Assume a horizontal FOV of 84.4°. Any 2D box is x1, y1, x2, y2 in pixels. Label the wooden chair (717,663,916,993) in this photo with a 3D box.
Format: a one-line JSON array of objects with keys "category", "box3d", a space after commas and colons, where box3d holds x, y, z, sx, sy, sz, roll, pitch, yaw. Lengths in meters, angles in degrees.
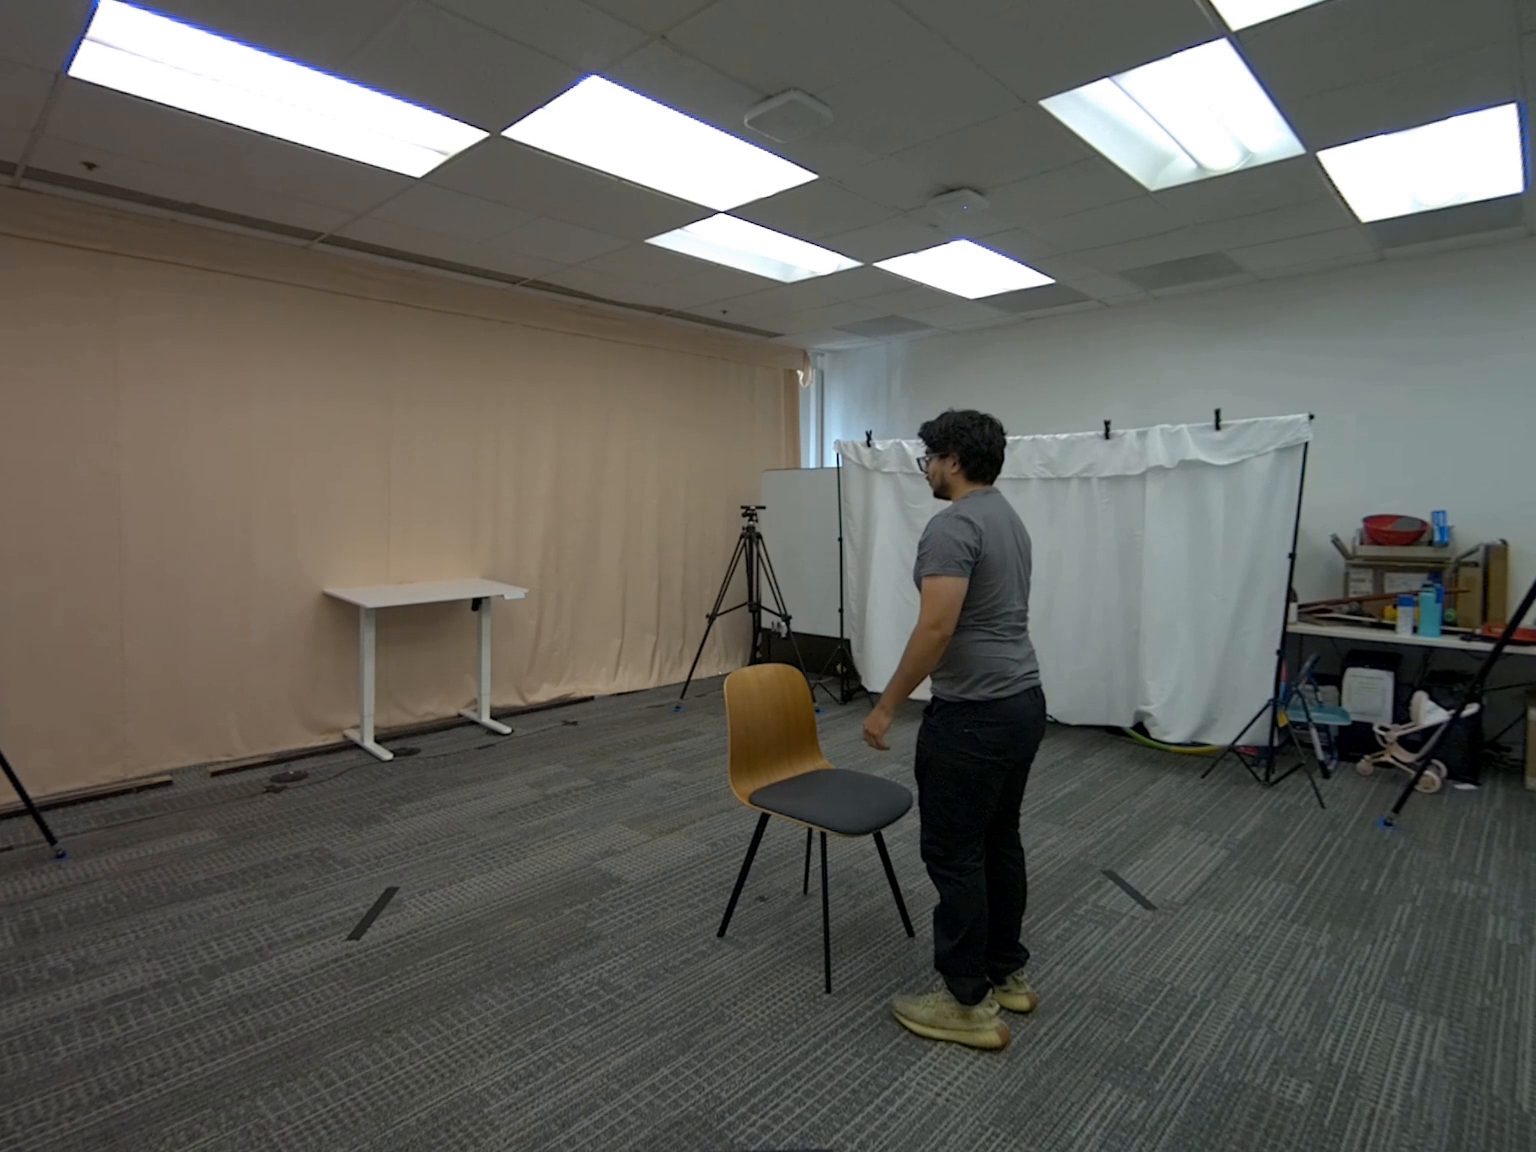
[{"category": "wooden chair", "box3d": [0.163, 0.743, 2.684, 0.539, 0.877, 0.463, -3, 1, 43]}]
